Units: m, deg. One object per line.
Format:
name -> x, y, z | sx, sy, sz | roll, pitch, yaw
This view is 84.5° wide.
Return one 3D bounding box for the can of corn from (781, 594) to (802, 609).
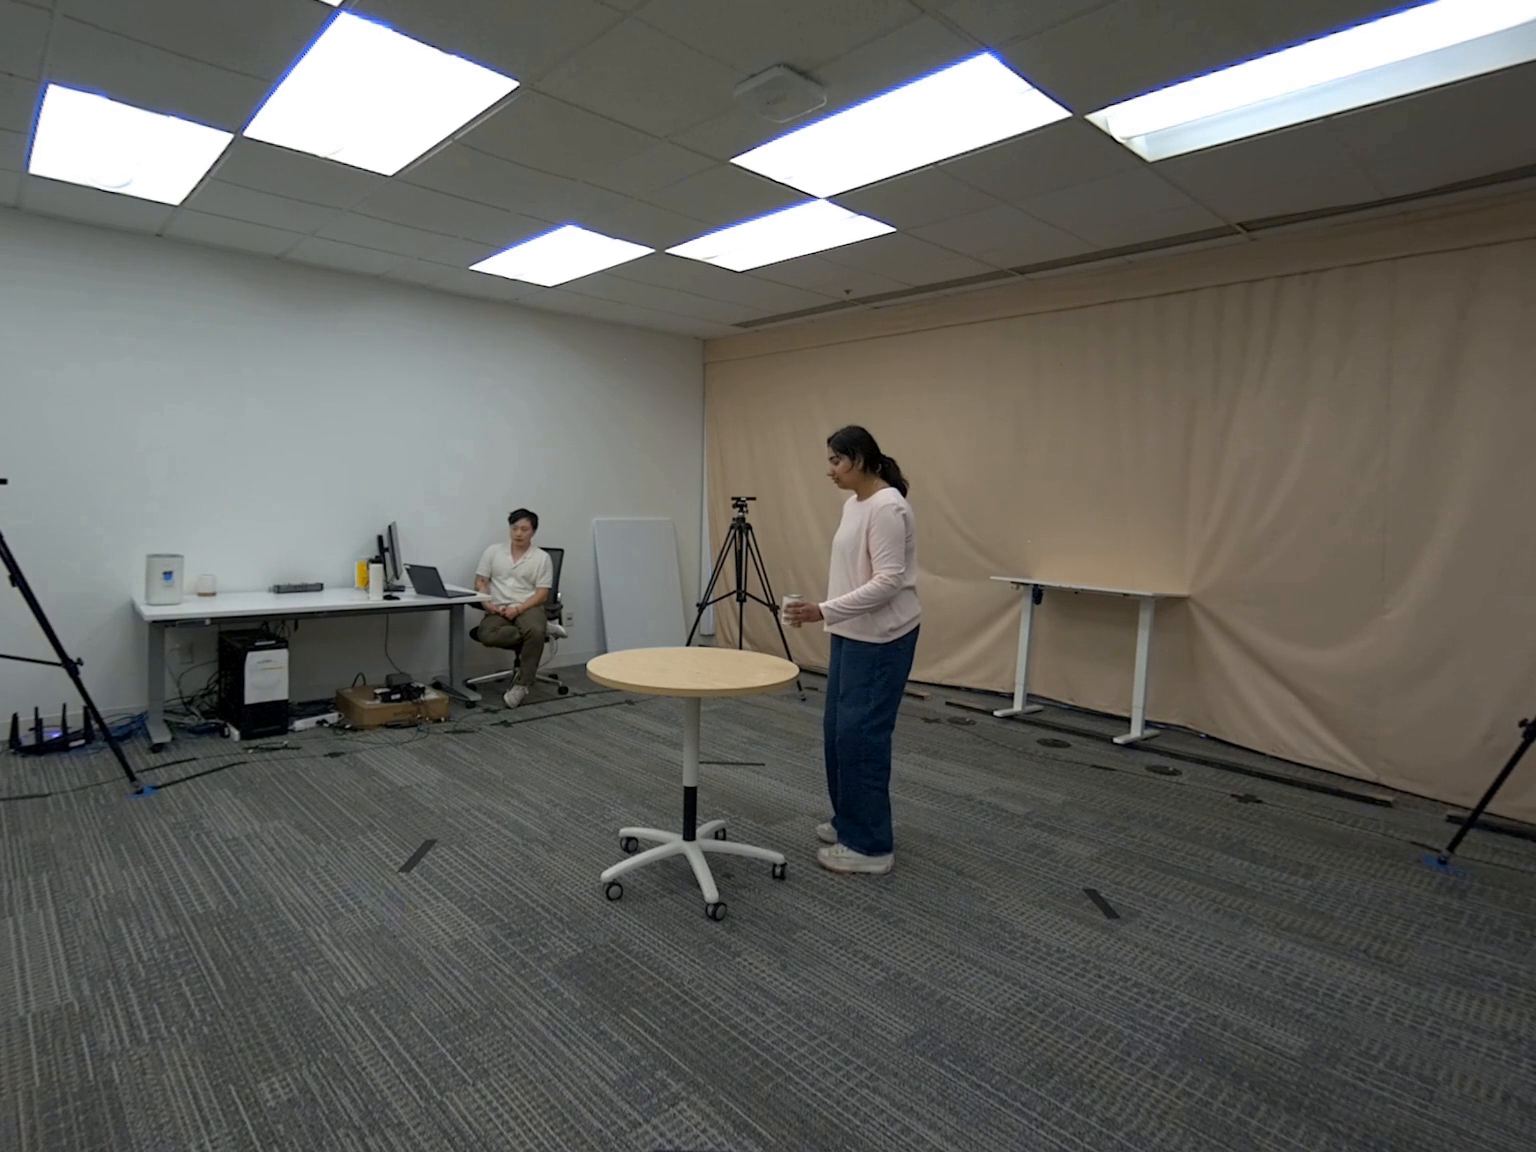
can of corn -> 0.098, 0.132, 3.054 | 0.074, 0.111, 0.074 | 4, 4, -2
